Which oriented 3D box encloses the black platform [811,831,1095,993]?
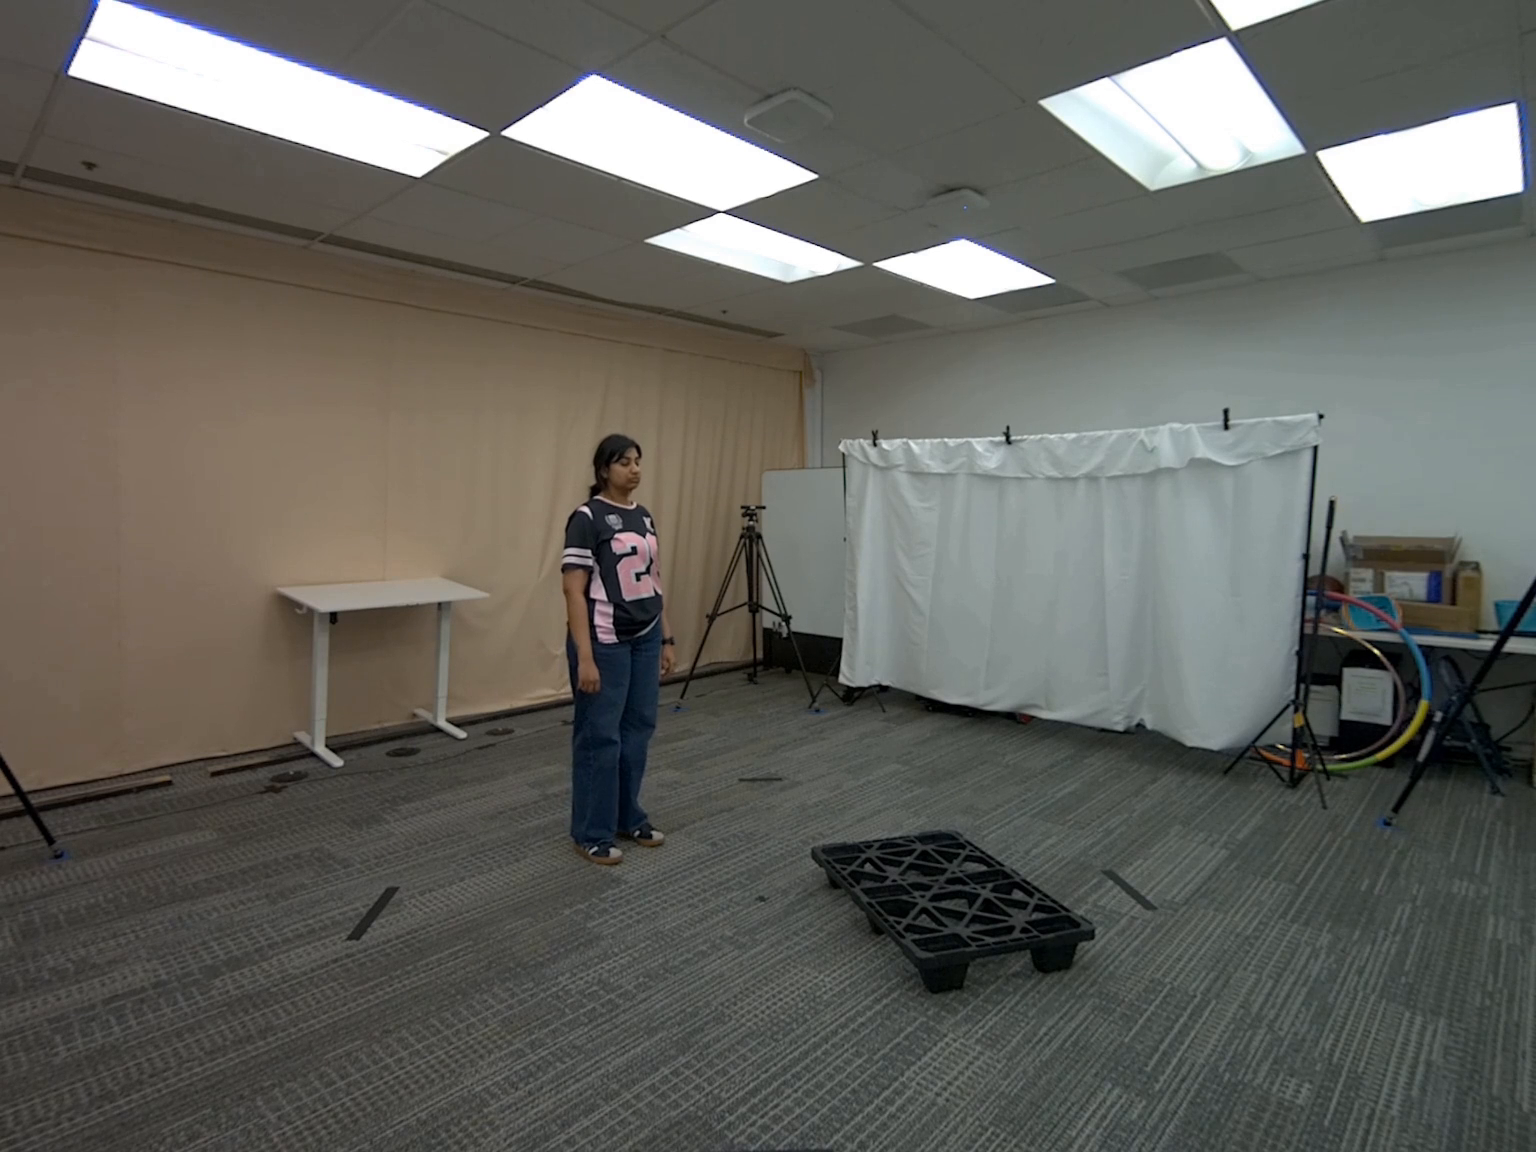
[{"bbox_3d":[0.564,1.083,2.807,0.595,0.143,0.821,-2,5,-17],"label":"black platform"}]
